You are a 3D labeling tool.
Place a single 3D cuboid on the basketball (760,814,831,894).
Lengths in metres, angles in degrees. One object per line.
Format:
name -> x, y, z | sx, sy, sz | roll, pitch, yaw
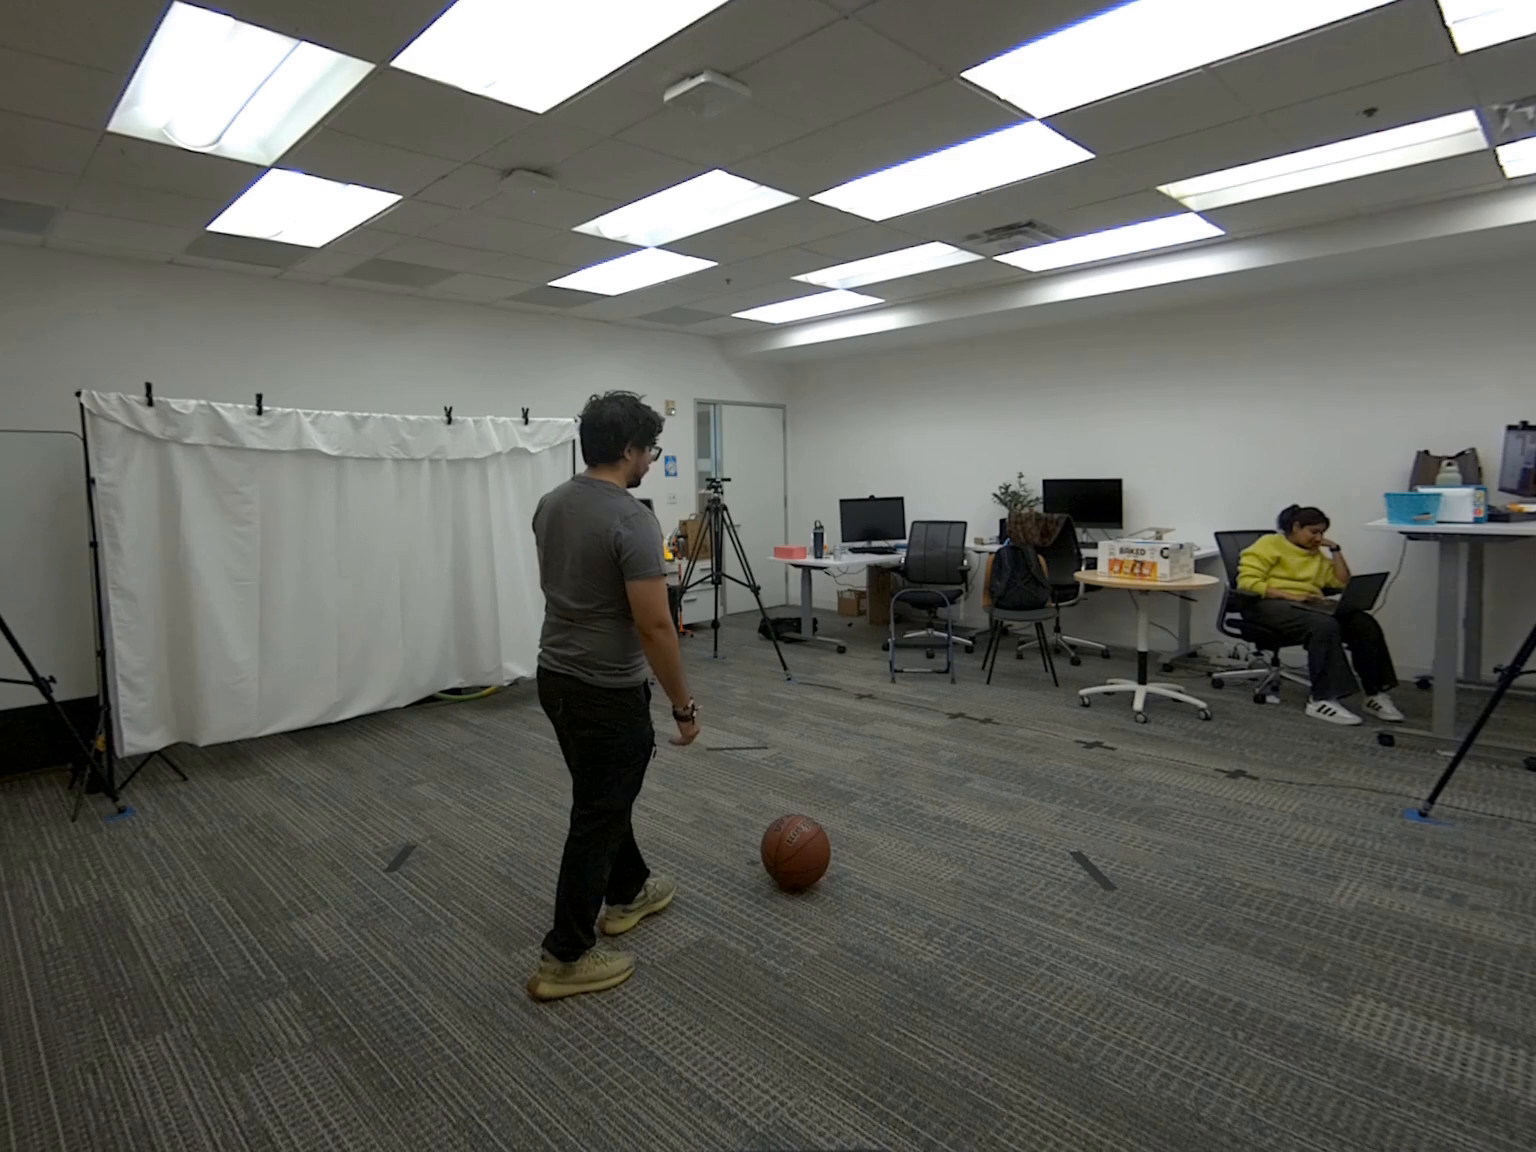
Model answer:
basketball -> 0.095, 0.936, 2.924 | 0.236, 0.235, 0.237 | -1, 5, -2
